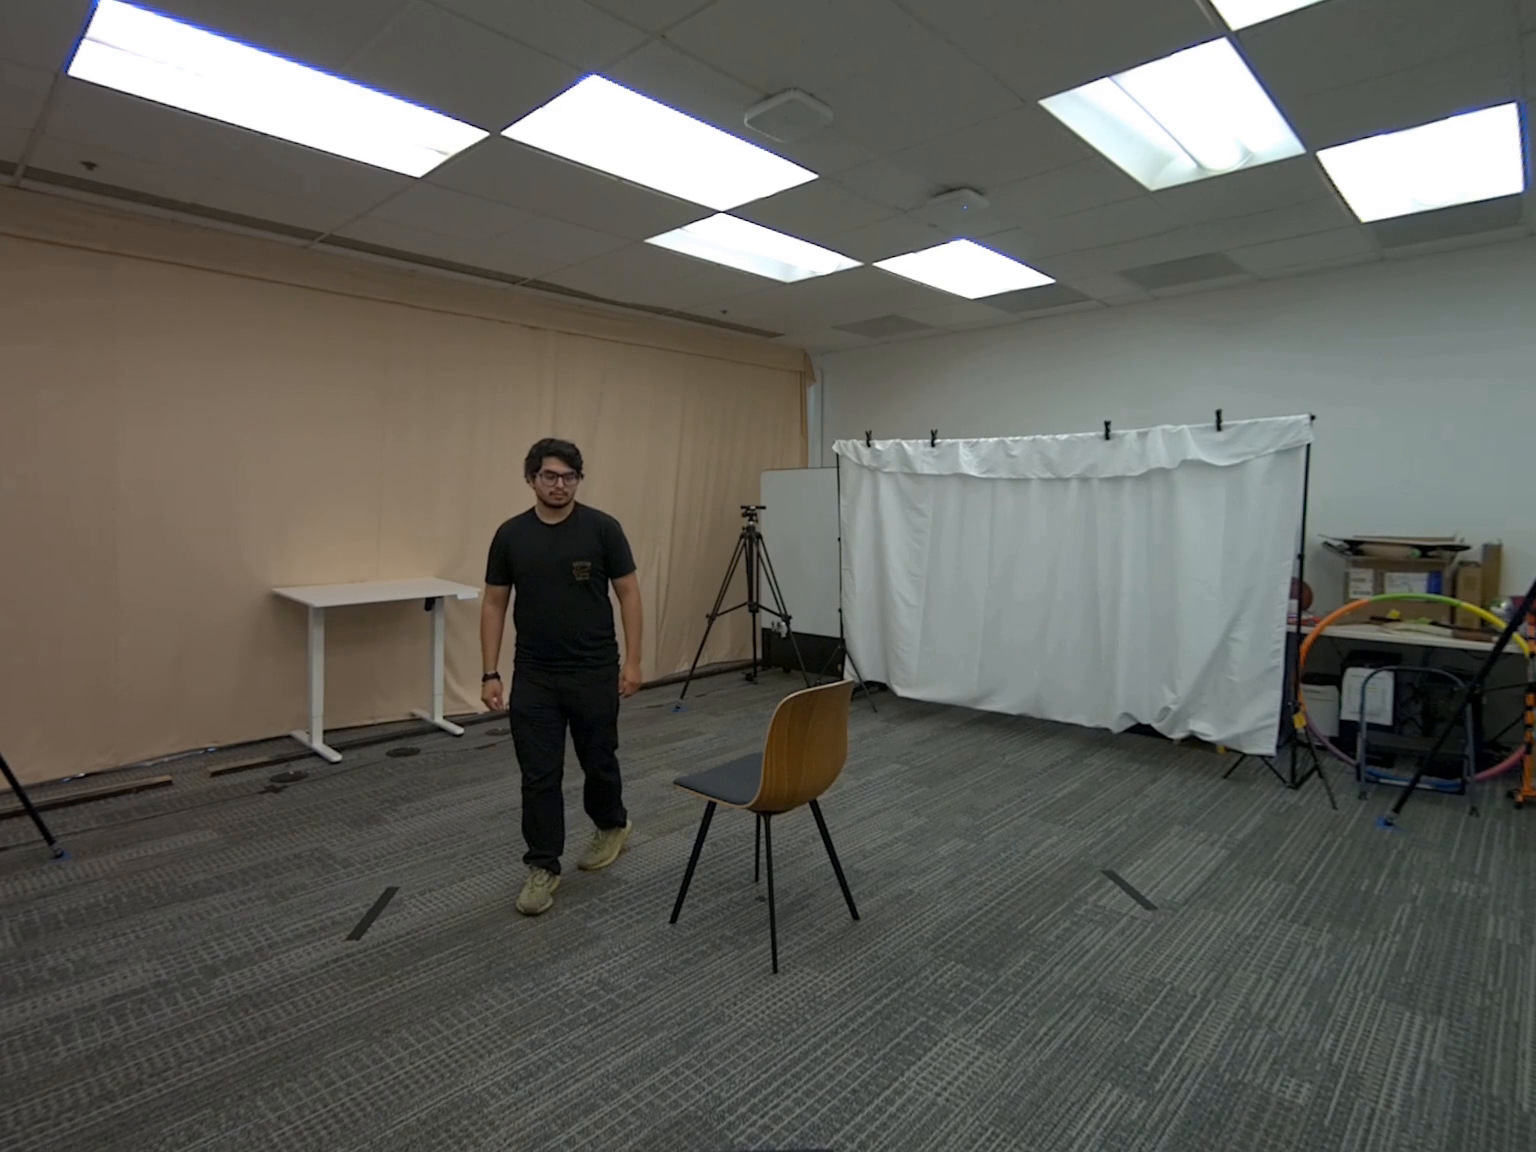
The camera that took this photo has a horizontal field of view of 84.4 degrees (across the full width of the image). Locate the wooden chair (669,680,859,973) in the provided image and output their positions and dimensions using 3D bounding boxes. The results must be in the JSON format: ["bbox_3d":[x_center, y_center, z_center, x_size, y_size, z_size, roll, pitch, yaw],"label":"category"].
[{"bbox_3d":[-0.016,0.732,2.795,0.541,0.874,0.463,9,9,41],"label":"wooden chair"}]
